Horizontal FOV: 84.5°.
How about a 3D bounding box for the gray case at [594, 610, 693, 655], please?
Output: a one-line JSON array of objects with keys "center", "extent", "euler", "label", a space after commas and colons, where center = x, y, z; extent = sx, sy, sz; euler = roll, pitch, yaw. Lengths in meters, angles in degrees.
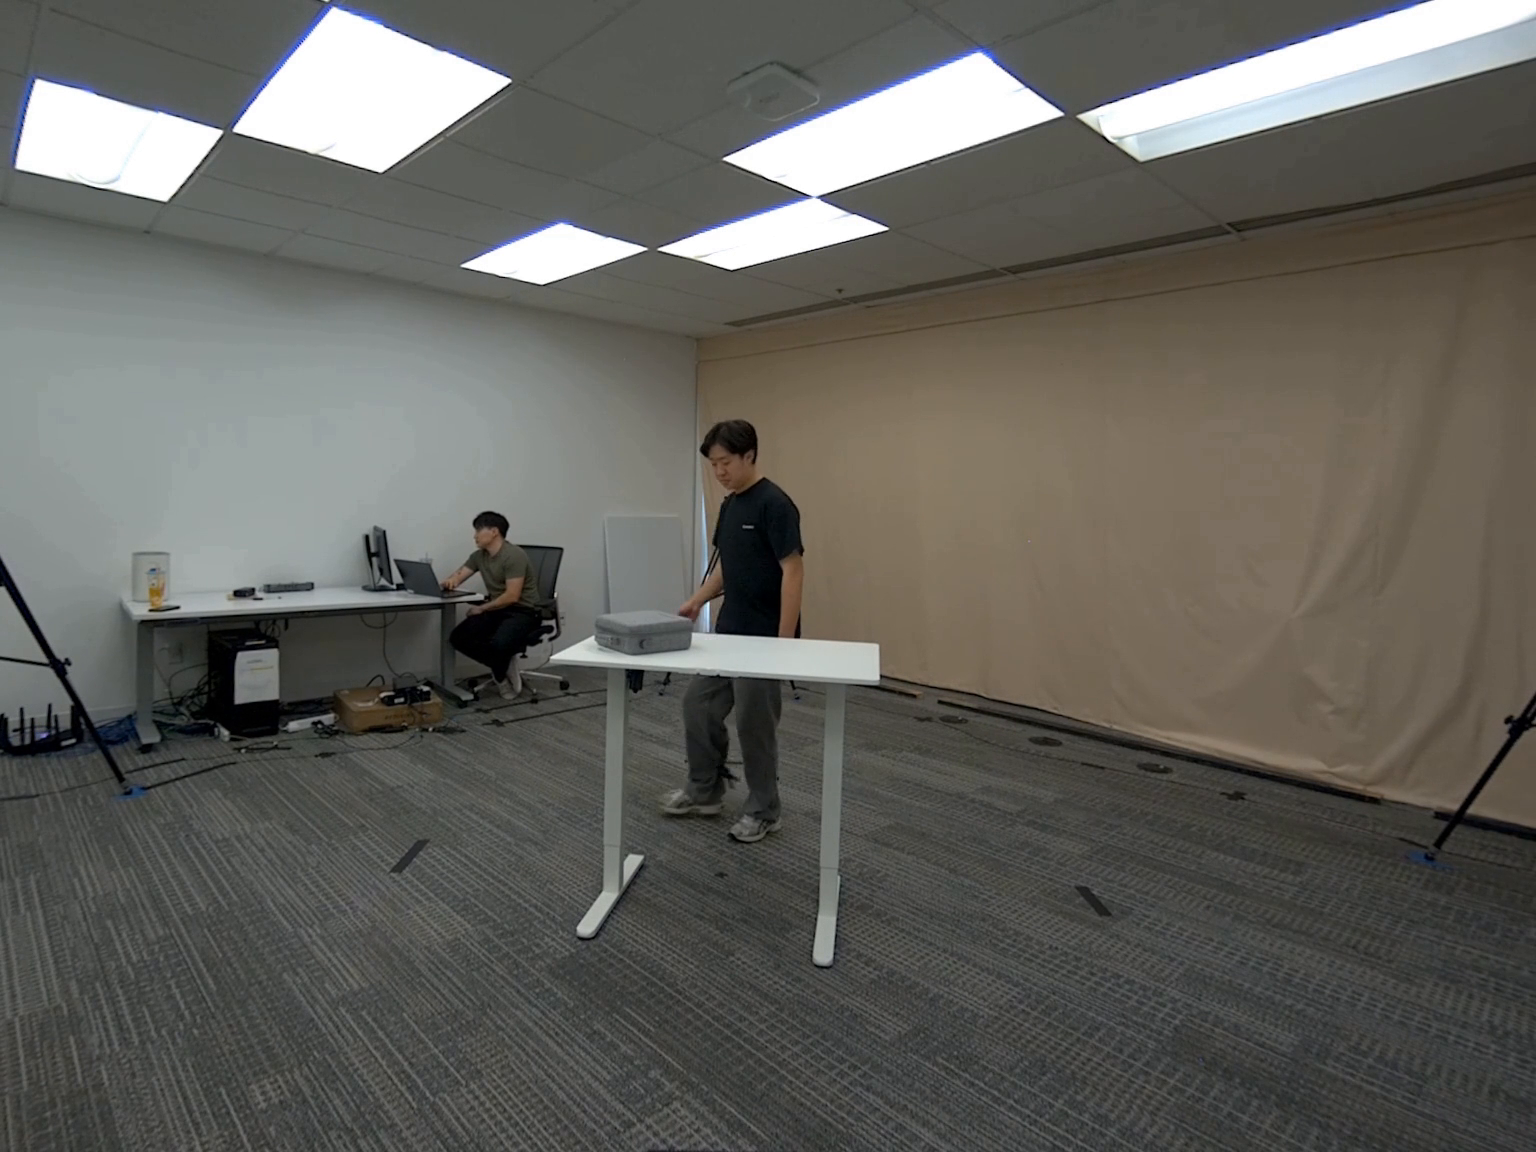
[{"center": [-0.438, 0.188, 2.808], "extent": [0.281, 0.102, 0.270], "euler": [-4, 8, -38], "label": "gray case"}]
